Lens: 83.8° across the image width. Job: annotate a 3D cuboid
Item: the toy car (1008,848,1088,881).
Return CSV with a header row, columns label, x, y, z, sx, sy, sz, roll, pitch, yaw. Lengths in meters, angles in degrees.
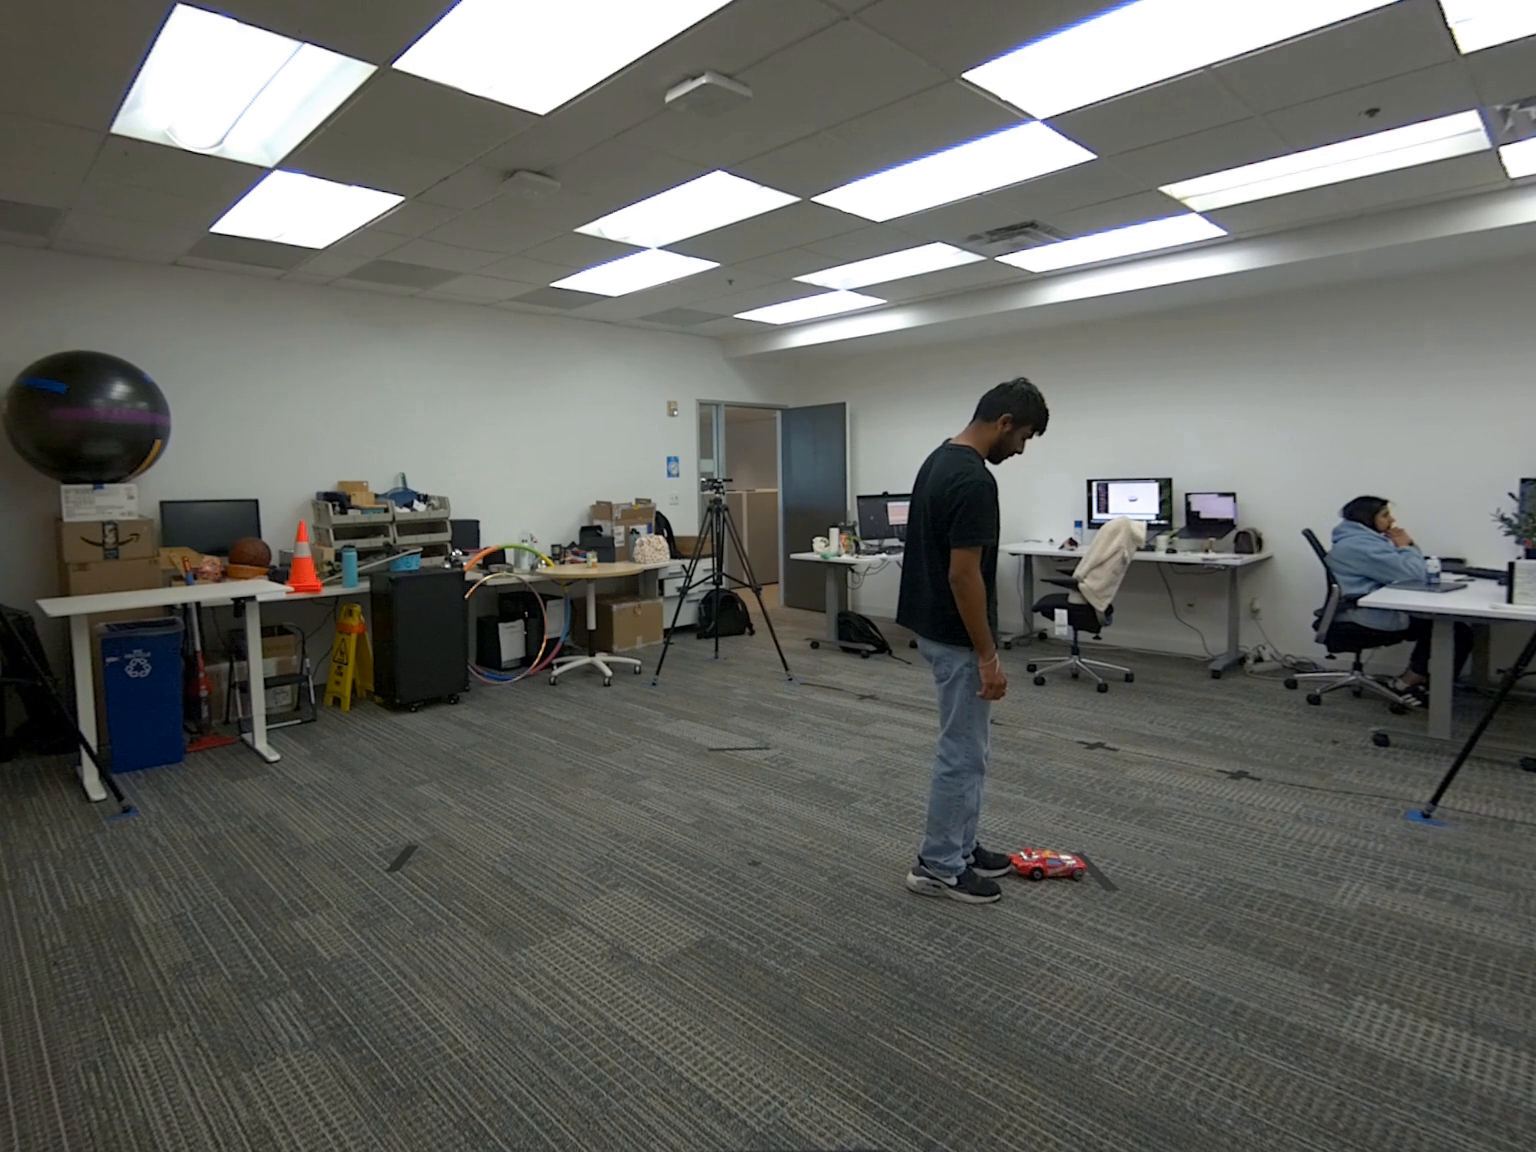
label,x,y,z,sx,sy,sz,roll,pitch,yaw
toy car,0.966,1.003,2.976,0.254,0.083,0.131,11,6,-2
